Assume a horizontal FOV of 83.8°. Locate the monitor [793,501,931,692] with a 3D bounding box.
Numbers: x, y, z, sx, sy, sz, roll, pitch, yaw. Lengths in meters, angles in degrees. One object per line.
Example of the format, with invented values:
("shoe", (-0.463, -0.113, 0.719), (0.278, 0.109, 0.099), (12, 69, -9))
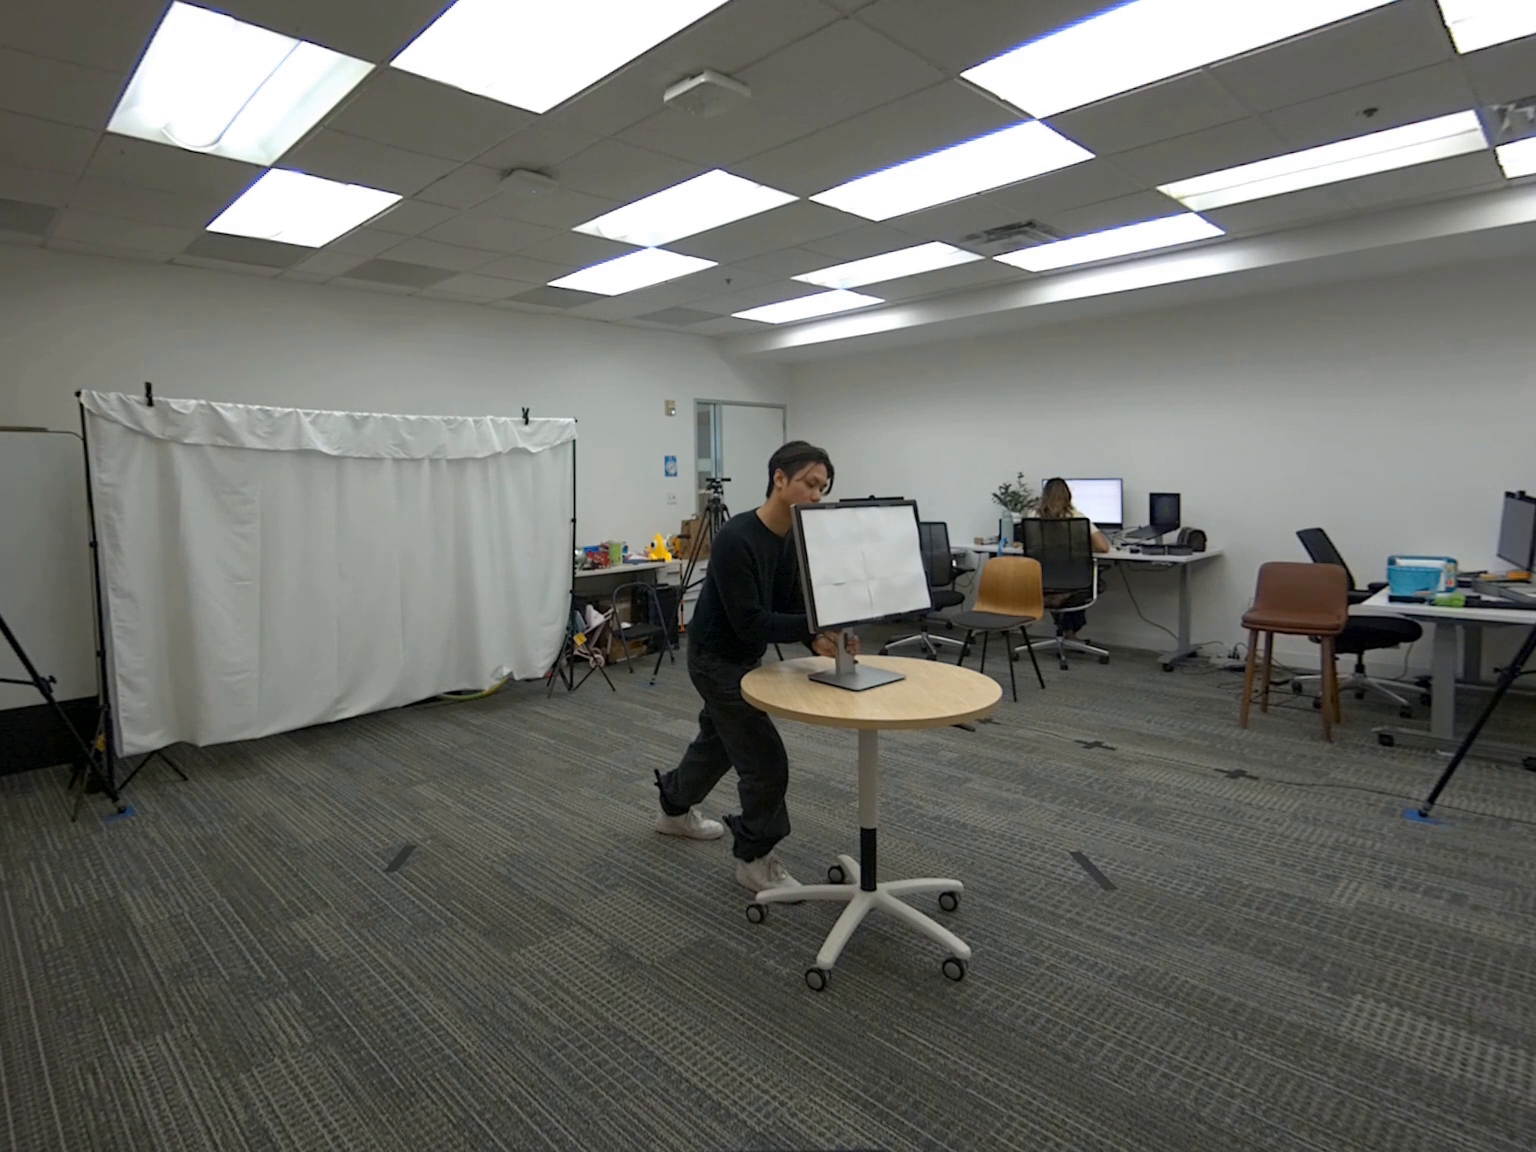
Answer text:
("monitor", (0.274, 0.045, 2.585), (0.515, 0.513, 0.180), (-3, 9, -44))
